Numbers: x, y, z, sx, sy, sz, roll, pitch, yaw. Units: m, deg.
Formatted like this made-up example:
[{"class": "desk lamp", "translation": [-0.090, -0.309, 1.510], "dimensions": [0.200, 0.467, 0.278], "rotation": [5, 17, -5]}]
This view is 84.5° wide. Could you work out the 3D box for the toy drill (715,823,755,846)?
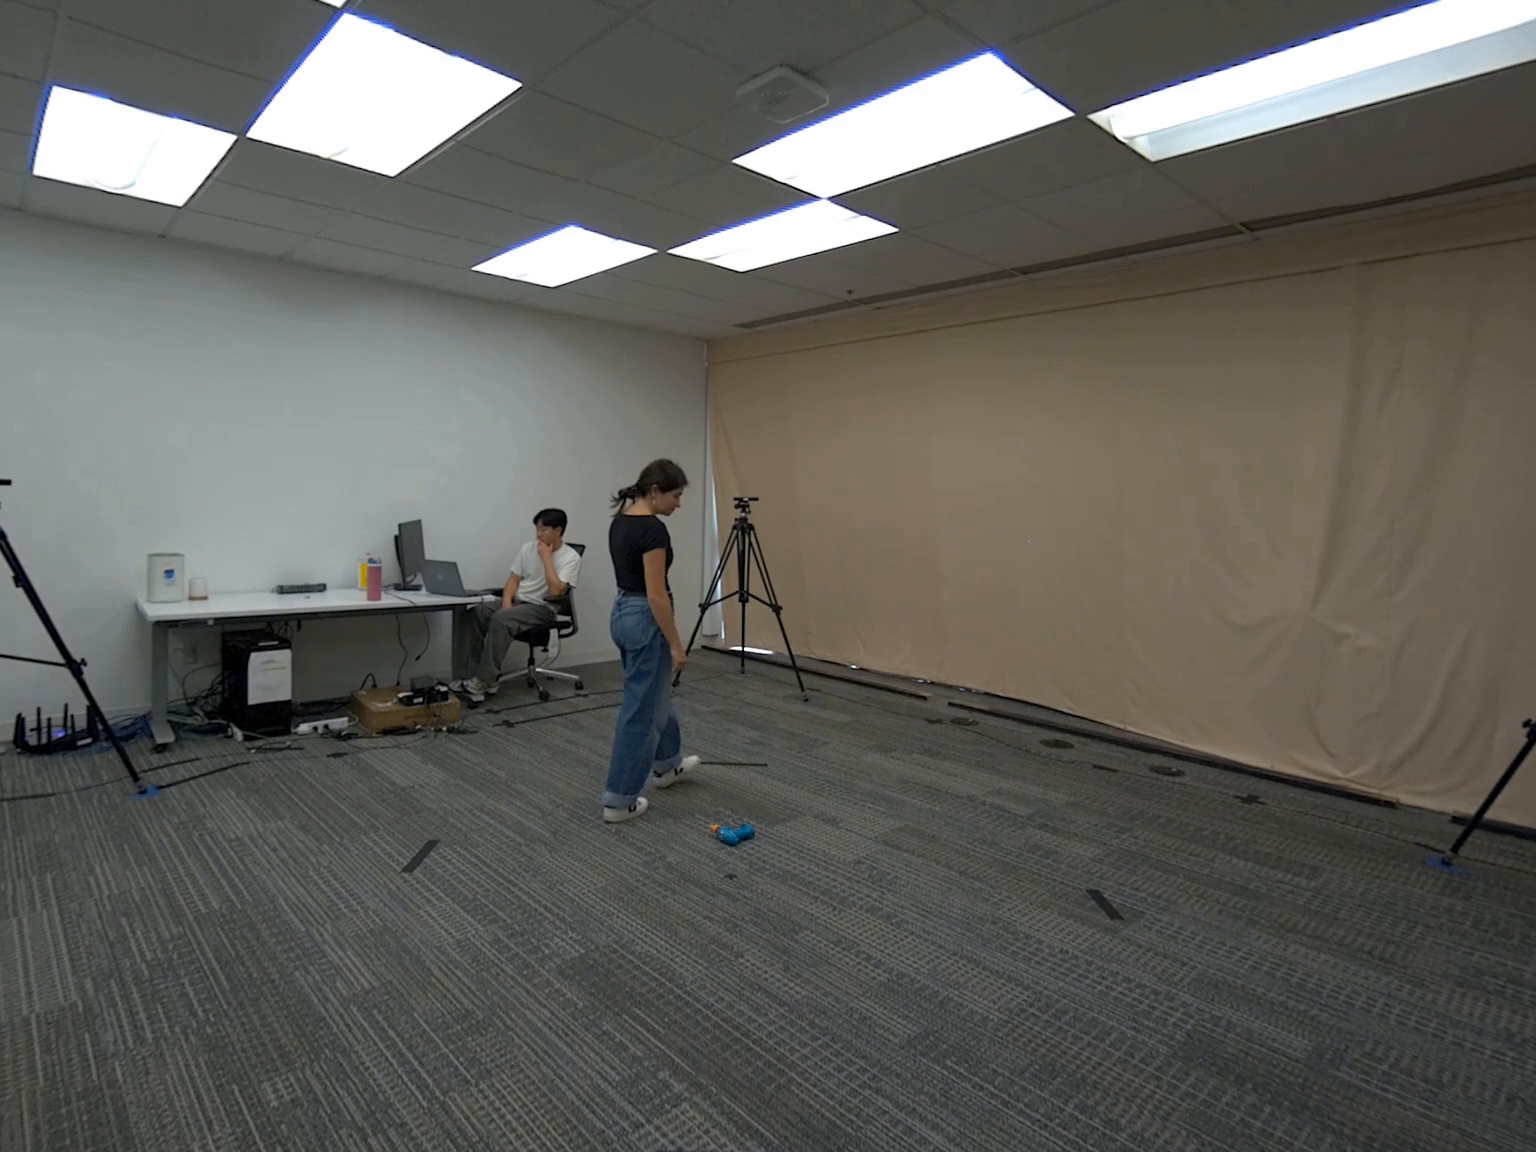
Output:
[{"class": "toy drill", "translation": [-0.166, 1.051, 3.449], "dimensions": [0.174, 0.061, 0.142], "rotation": [12, 10, 42]}]
